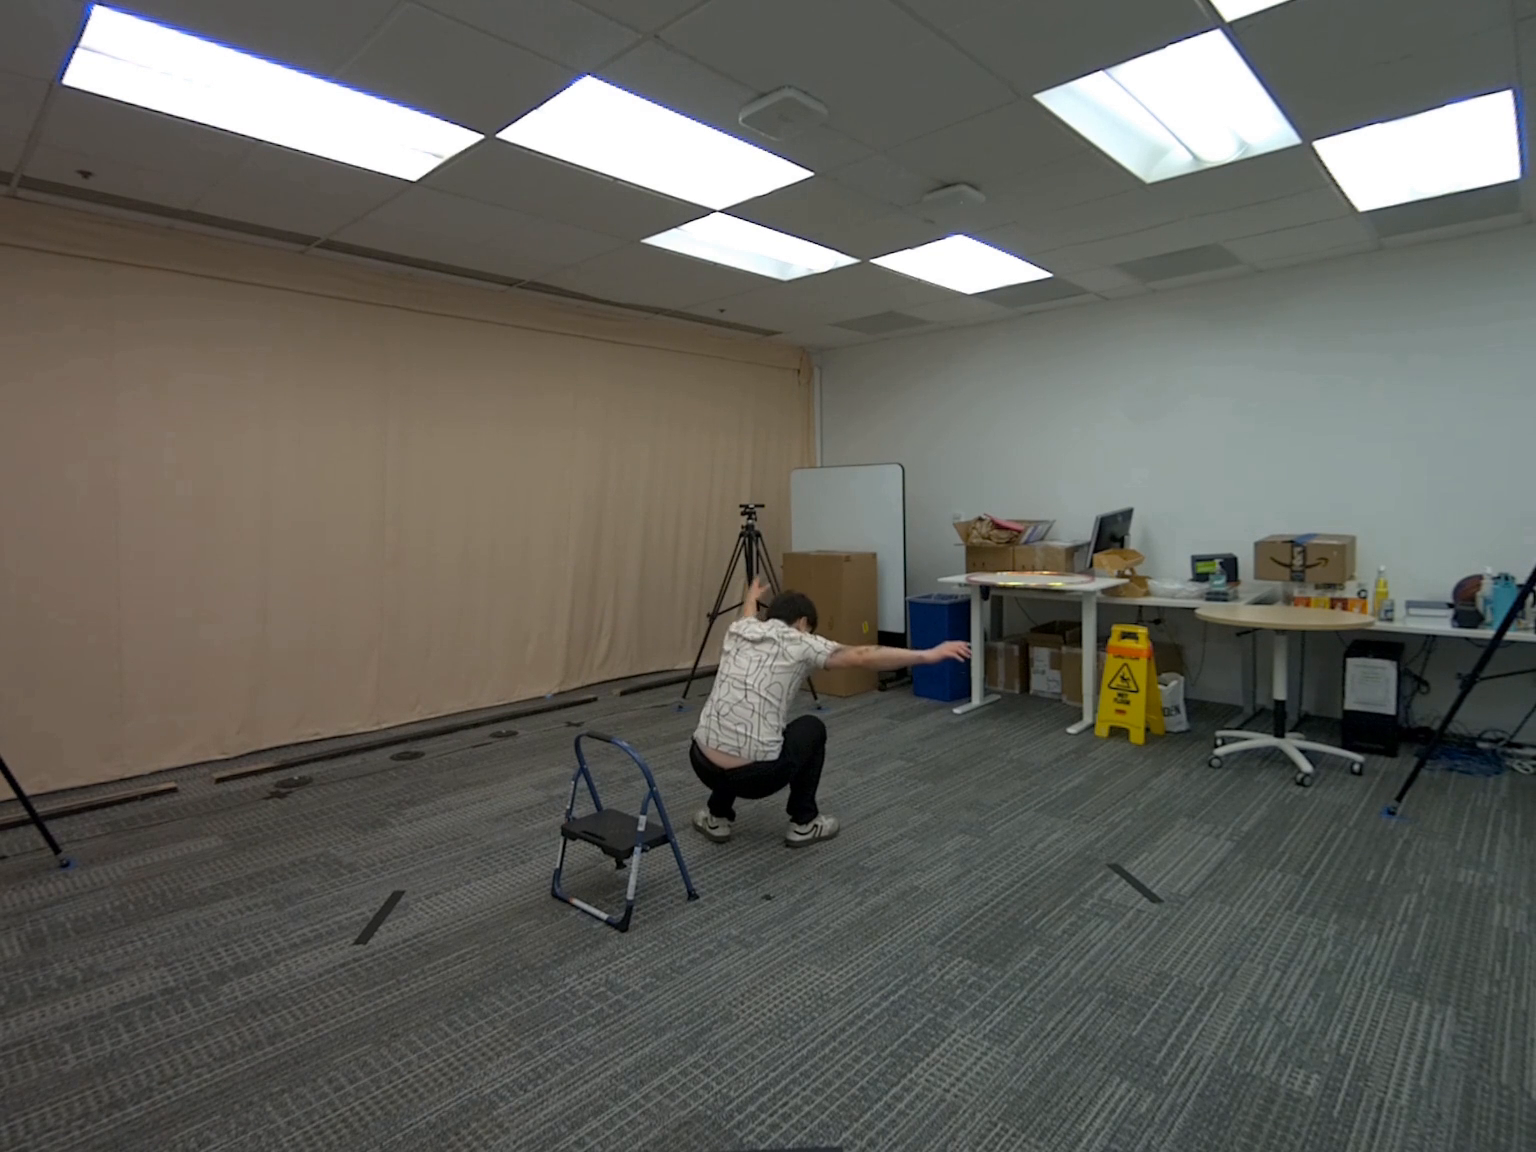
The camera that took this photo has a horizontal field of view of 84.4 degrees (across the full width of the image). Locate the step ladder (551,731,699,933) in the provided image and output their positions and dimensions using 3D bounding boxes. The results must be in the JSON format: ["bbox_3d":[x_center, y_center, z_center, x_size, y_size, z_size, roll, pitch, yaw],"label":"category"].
[{"bbox_3d":[-0.522,0.846,3.001,0.445,0.605,0.339,2,4,41],"label":"step ladder"}]
